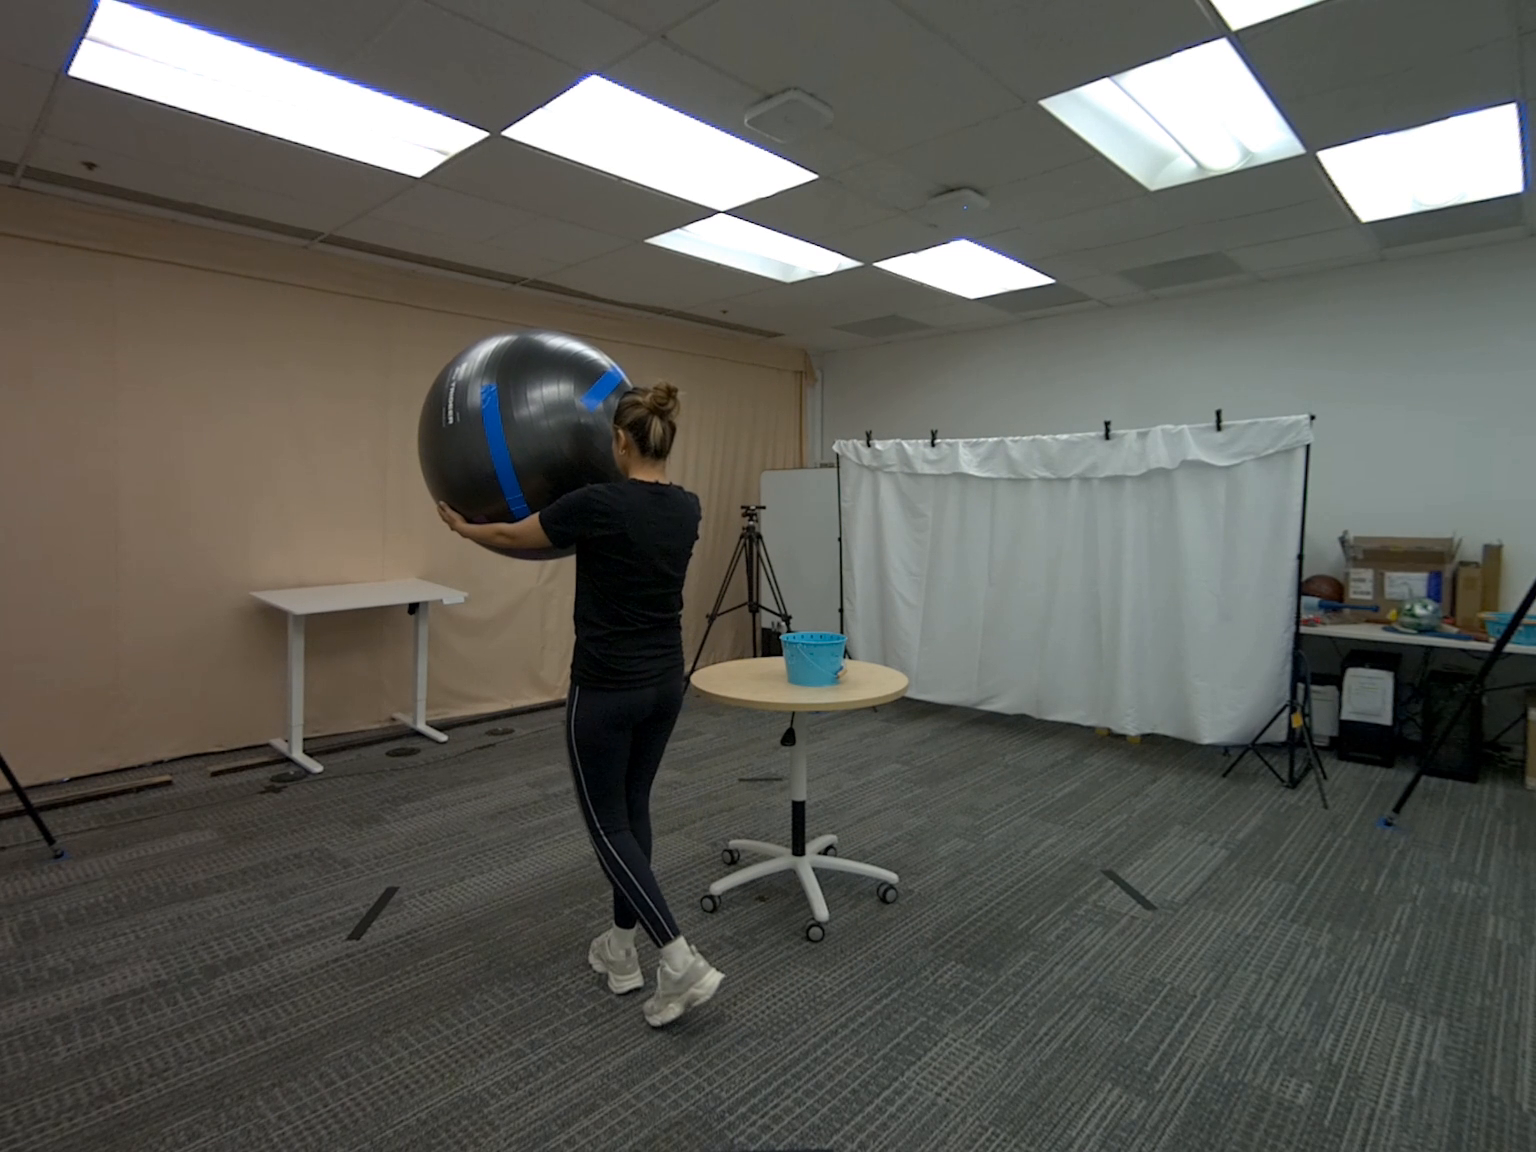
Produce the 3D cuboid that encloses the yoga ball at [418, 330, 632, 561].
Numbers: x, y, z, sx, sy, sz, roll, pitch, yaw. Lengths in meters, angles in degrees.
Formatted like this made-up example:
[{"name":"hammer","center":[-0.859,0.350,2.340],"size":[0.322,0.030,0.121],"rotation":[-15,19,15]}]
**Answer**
[{"name":"yoga ball","center":[-0.759,-0.424,2.786],"size":[0.757,0.756,0.761],"rotation":[0,4,-2]}]
